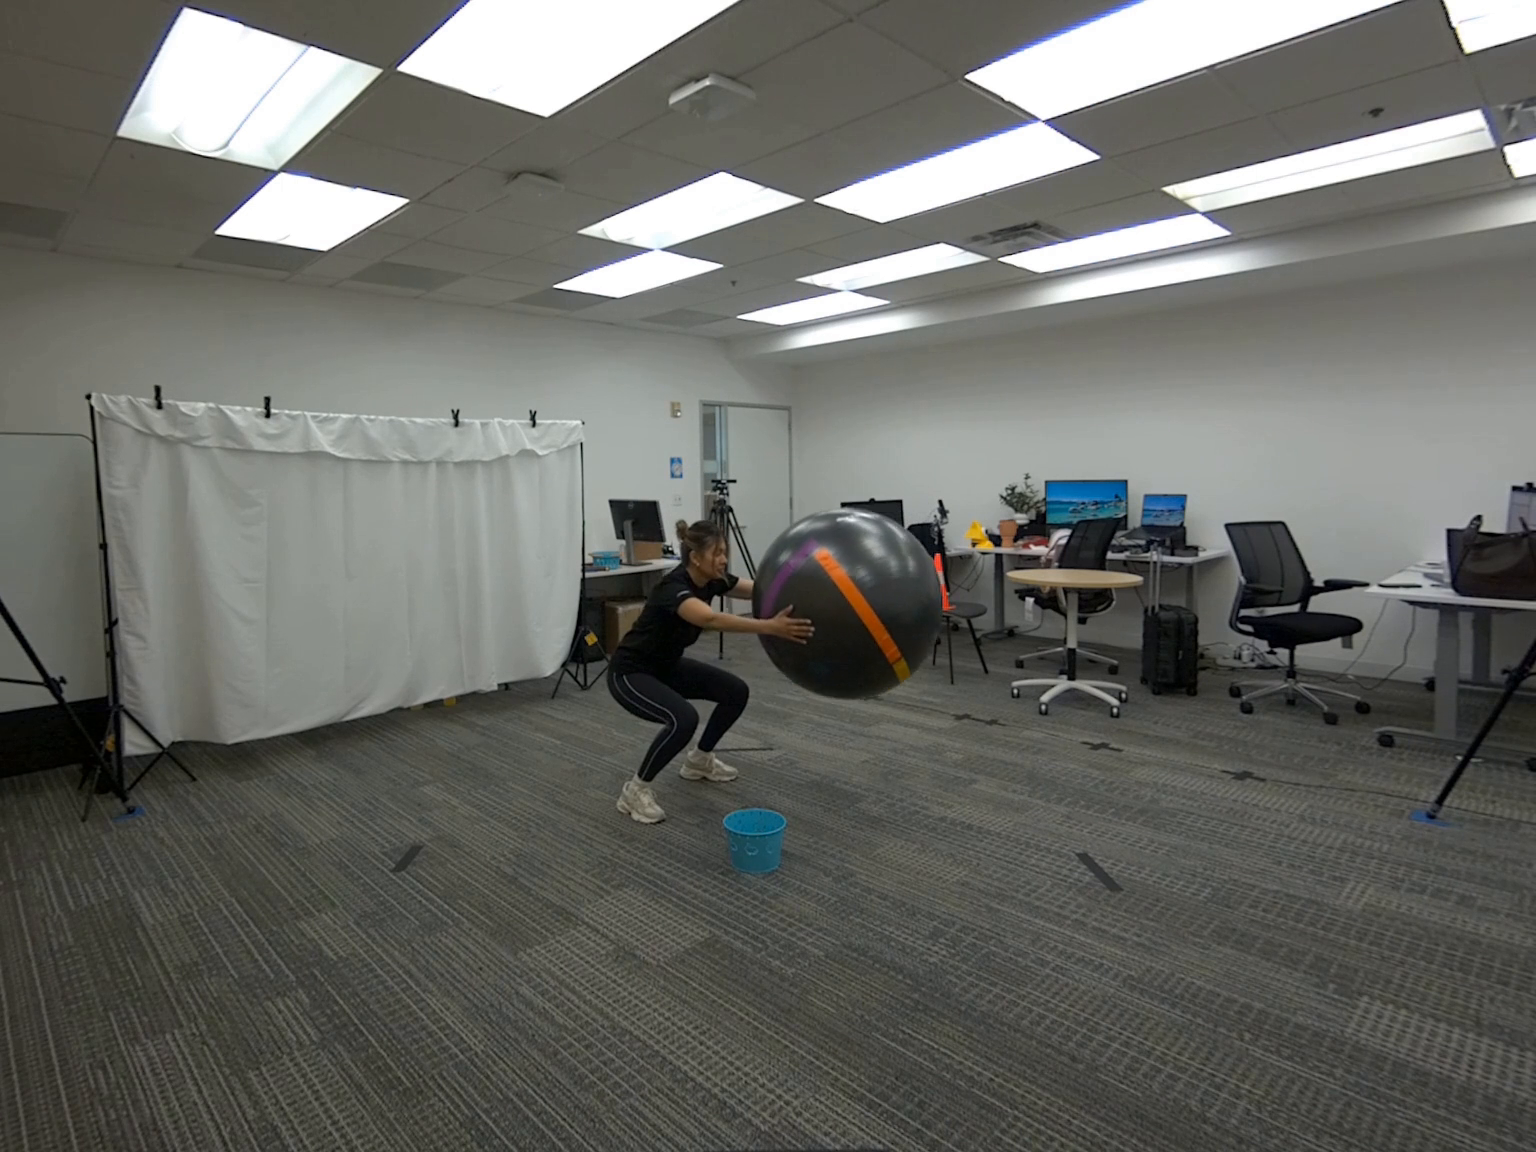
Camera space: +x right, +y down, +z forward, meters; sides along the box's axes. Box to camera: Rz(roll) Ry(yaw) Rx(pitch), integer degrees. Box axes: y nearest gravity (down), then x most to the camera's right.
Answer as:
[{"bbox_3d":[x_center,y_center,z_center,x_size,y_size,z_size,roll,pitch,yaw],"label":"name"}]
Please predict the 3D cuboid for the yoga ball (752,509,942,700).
[{"bbox_3d":[0.311,0.109,3.424,0.757,0.755,0.762,-1,5,-2],"label":"yoga ball"}]
